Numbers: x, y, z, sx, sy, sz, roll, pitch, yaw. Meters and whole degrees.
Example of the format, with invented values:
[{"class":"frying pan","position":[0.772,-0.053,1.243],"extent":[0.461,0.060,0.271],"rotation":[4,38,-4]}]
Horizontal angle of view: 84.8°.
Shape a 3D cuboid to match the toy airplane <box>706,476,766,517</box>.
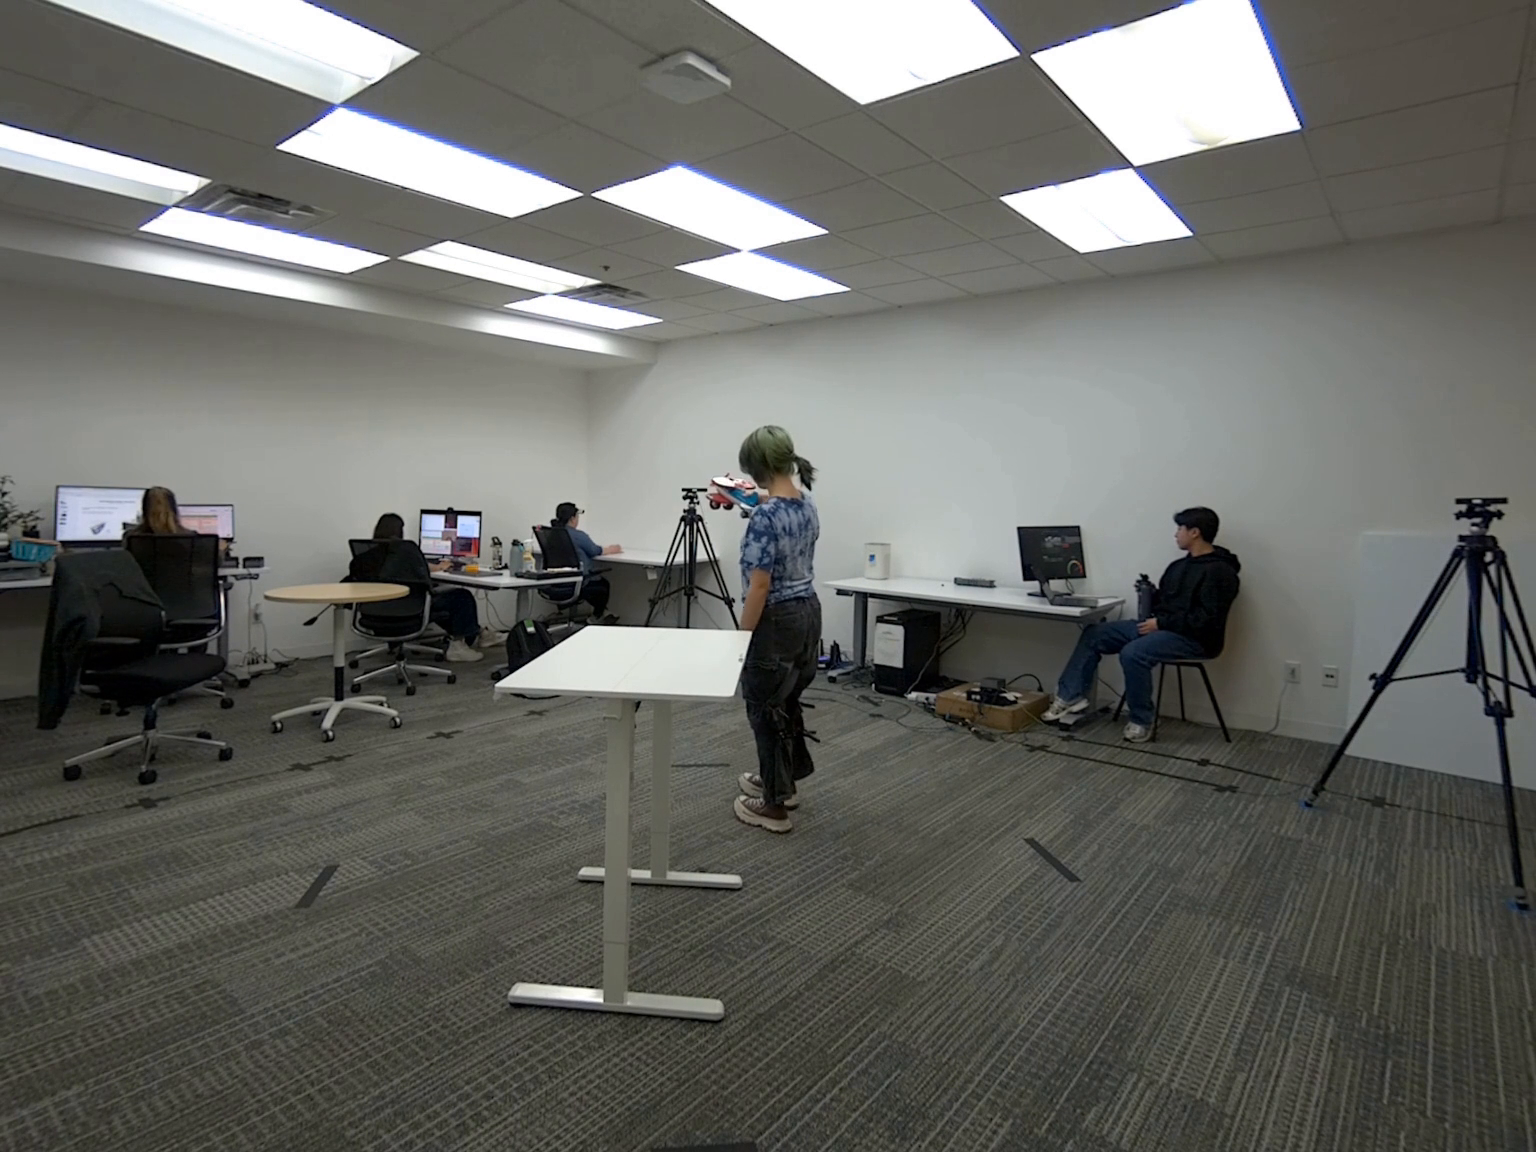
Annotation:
[{"class":"toy airplane","position":[-0.150,-0.368,3.942],"extent":[0.264,0.155,0.248],"rotation":[12,12,15]}]
